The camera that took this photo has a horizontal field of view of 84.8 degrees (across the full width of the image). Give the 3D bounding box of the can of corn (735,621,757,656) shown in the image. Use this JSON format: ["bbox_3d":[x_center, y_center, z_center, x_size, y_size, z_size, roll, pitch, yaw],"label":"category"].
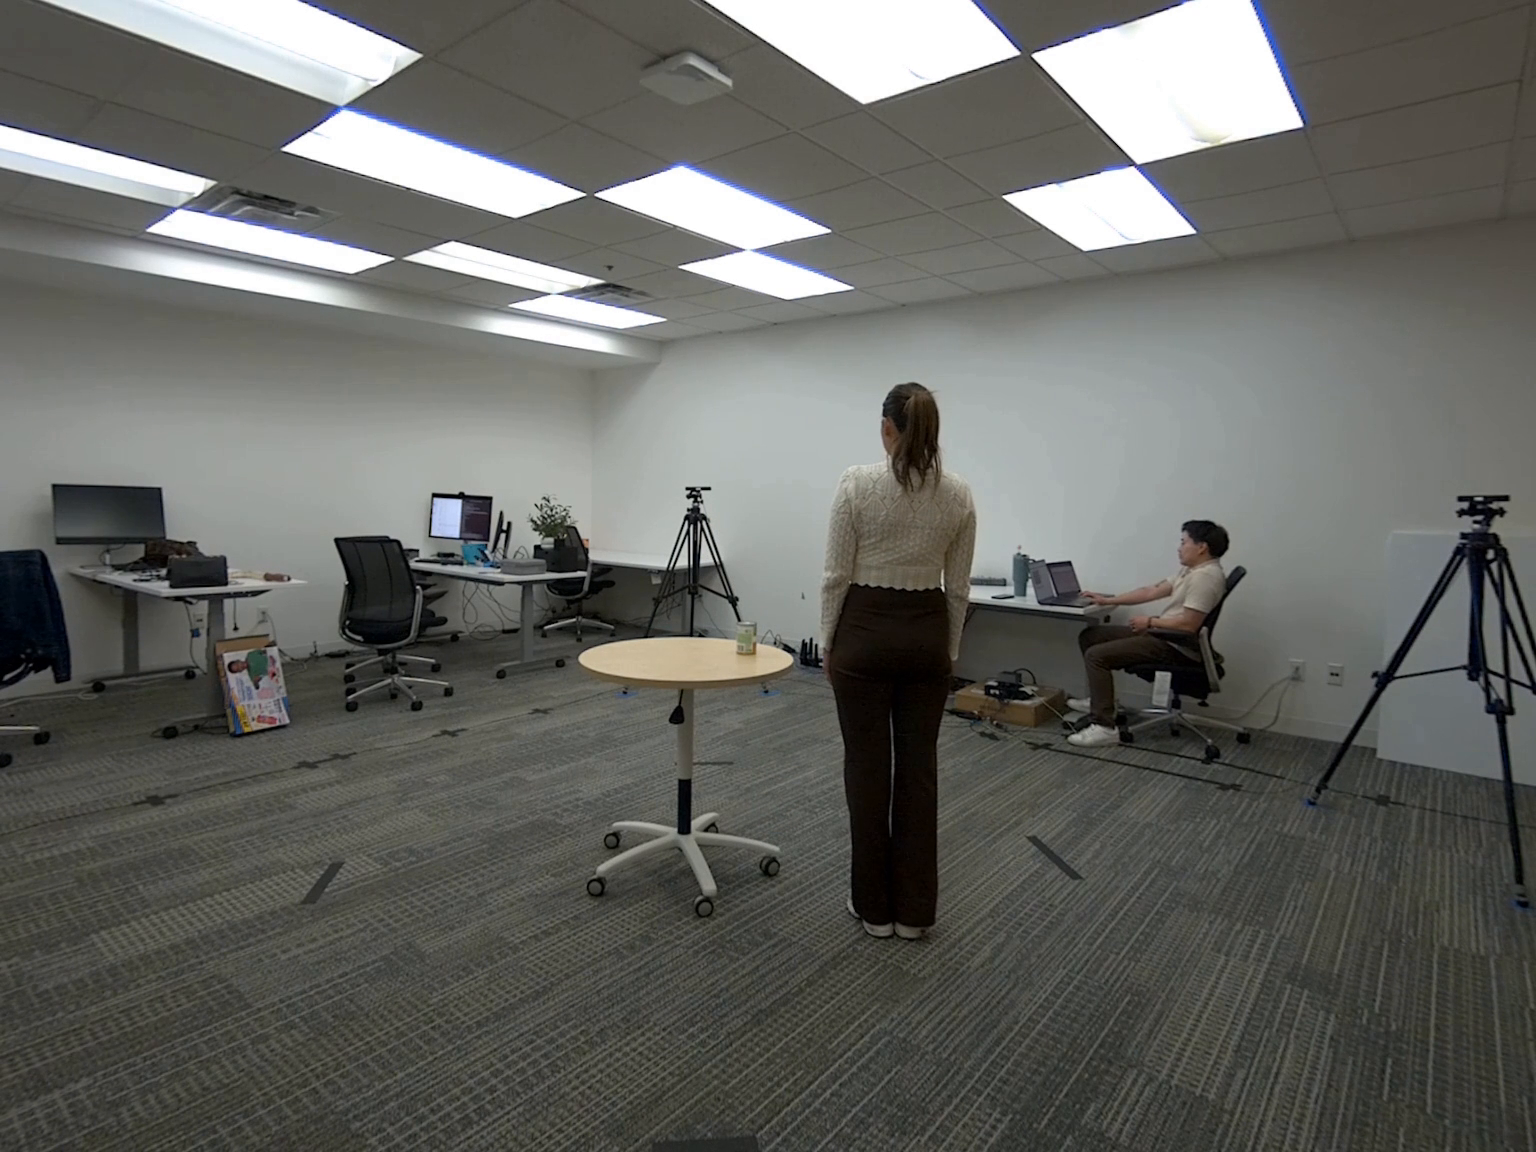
[{"bbox_3d":[-0.089,0.222,3.121,0.074,0.111,0.074,1,1,-2],"label":"can of corn"}]
